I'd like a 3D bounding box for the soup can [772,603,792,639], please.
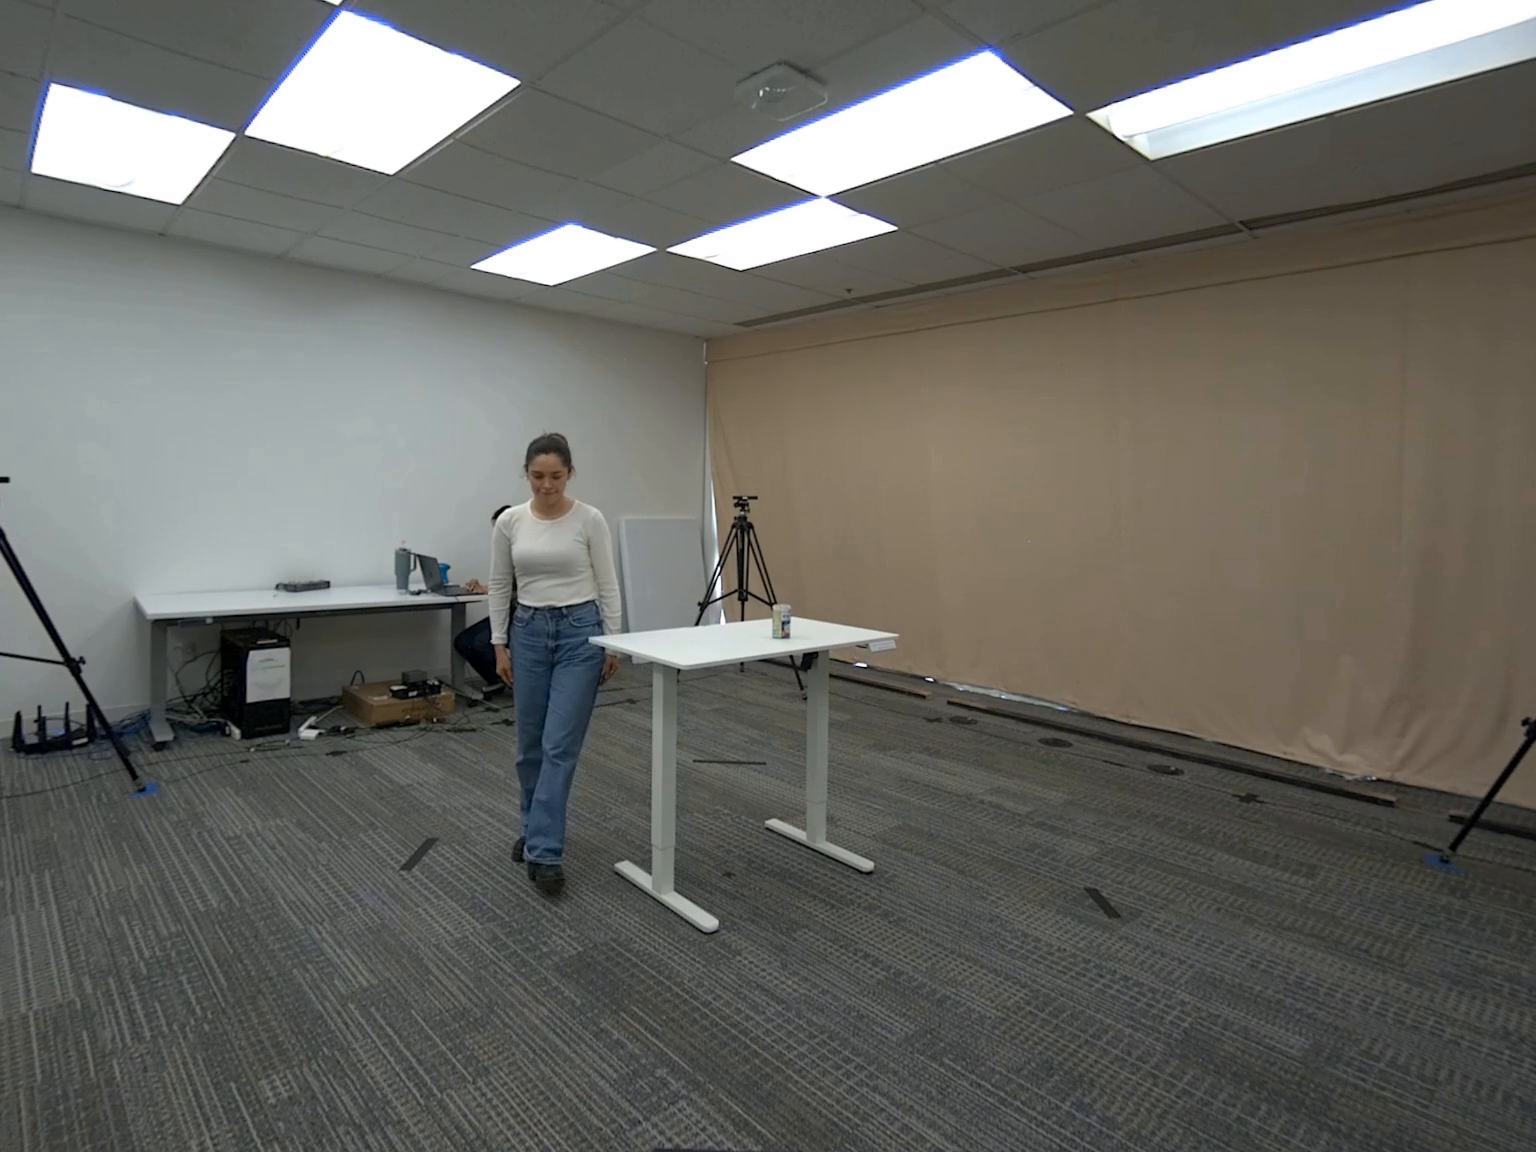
[{"bbox_3d":[0.044,0.170,3.064,0.067,0.121,0.067,-2,6,-1],"label":"soup can"}]
